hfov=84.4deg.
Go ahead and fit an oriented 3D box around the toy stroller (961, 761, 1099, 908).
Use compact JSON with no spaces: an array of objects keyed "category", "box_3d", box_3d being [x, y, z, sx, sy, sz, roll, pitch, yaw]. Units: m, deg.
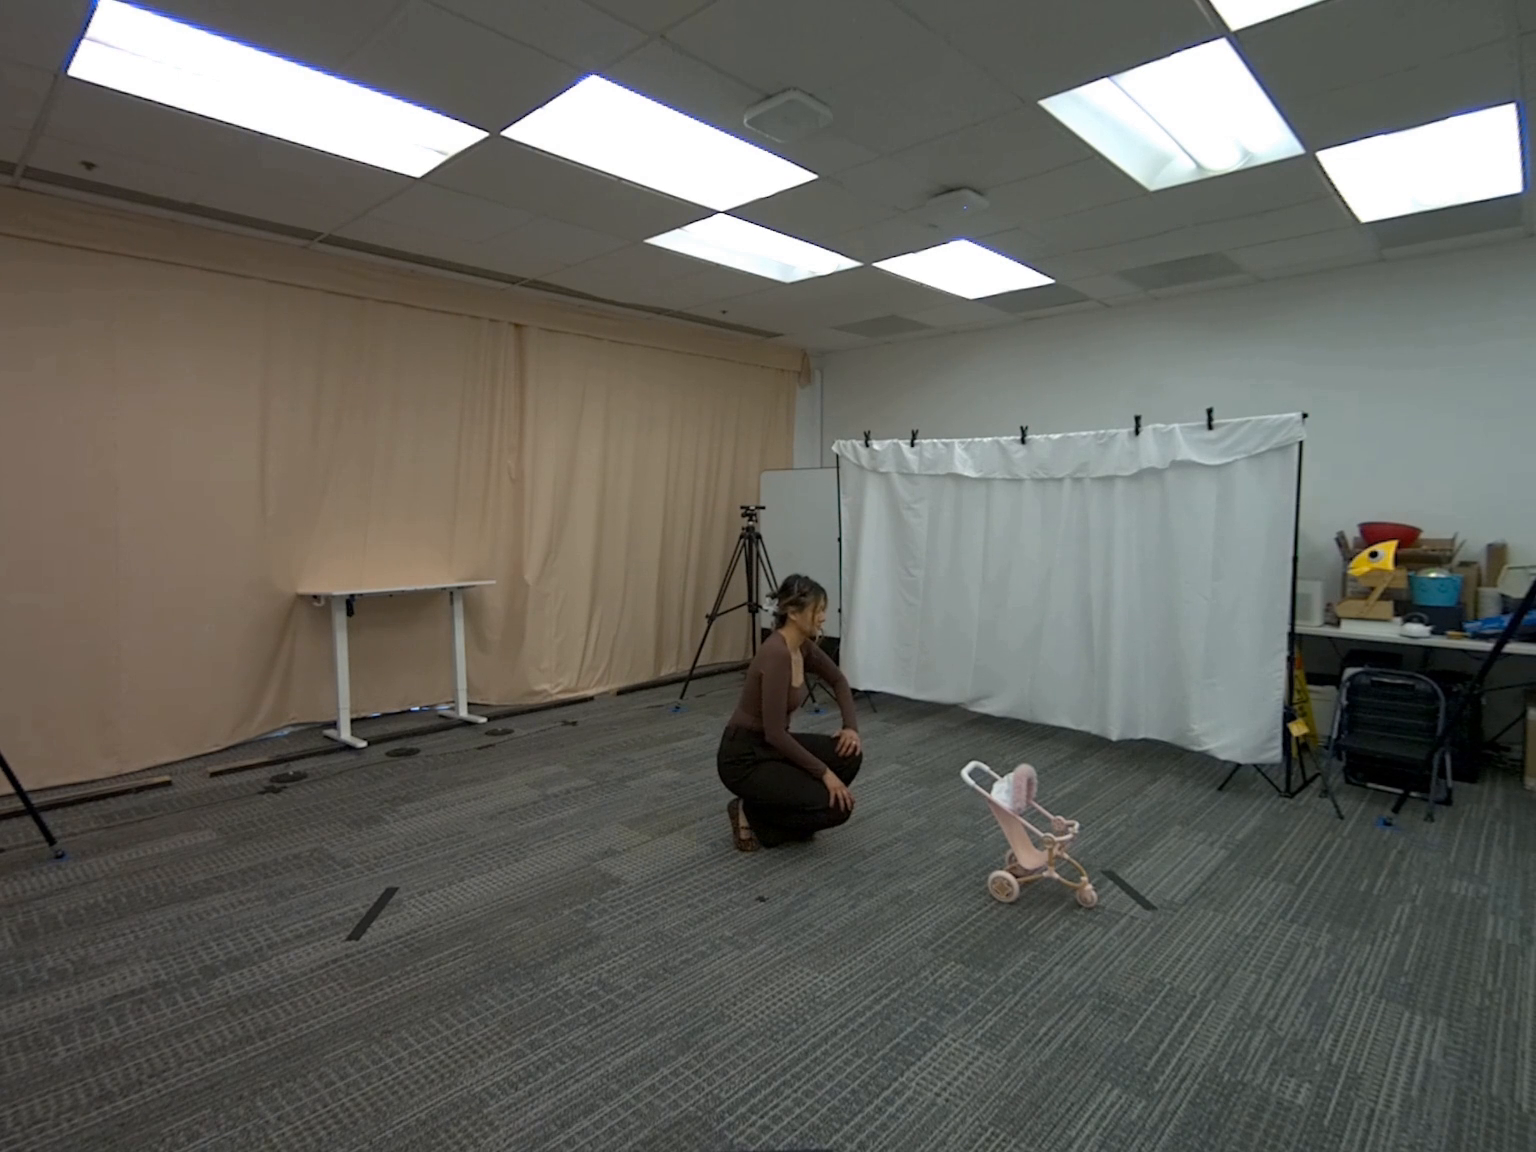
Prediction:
[{"category":"toy stroller","box_3d":[0.948,0.918,3.011,0.349,0.538,0.273,-19,-8,35]}]
